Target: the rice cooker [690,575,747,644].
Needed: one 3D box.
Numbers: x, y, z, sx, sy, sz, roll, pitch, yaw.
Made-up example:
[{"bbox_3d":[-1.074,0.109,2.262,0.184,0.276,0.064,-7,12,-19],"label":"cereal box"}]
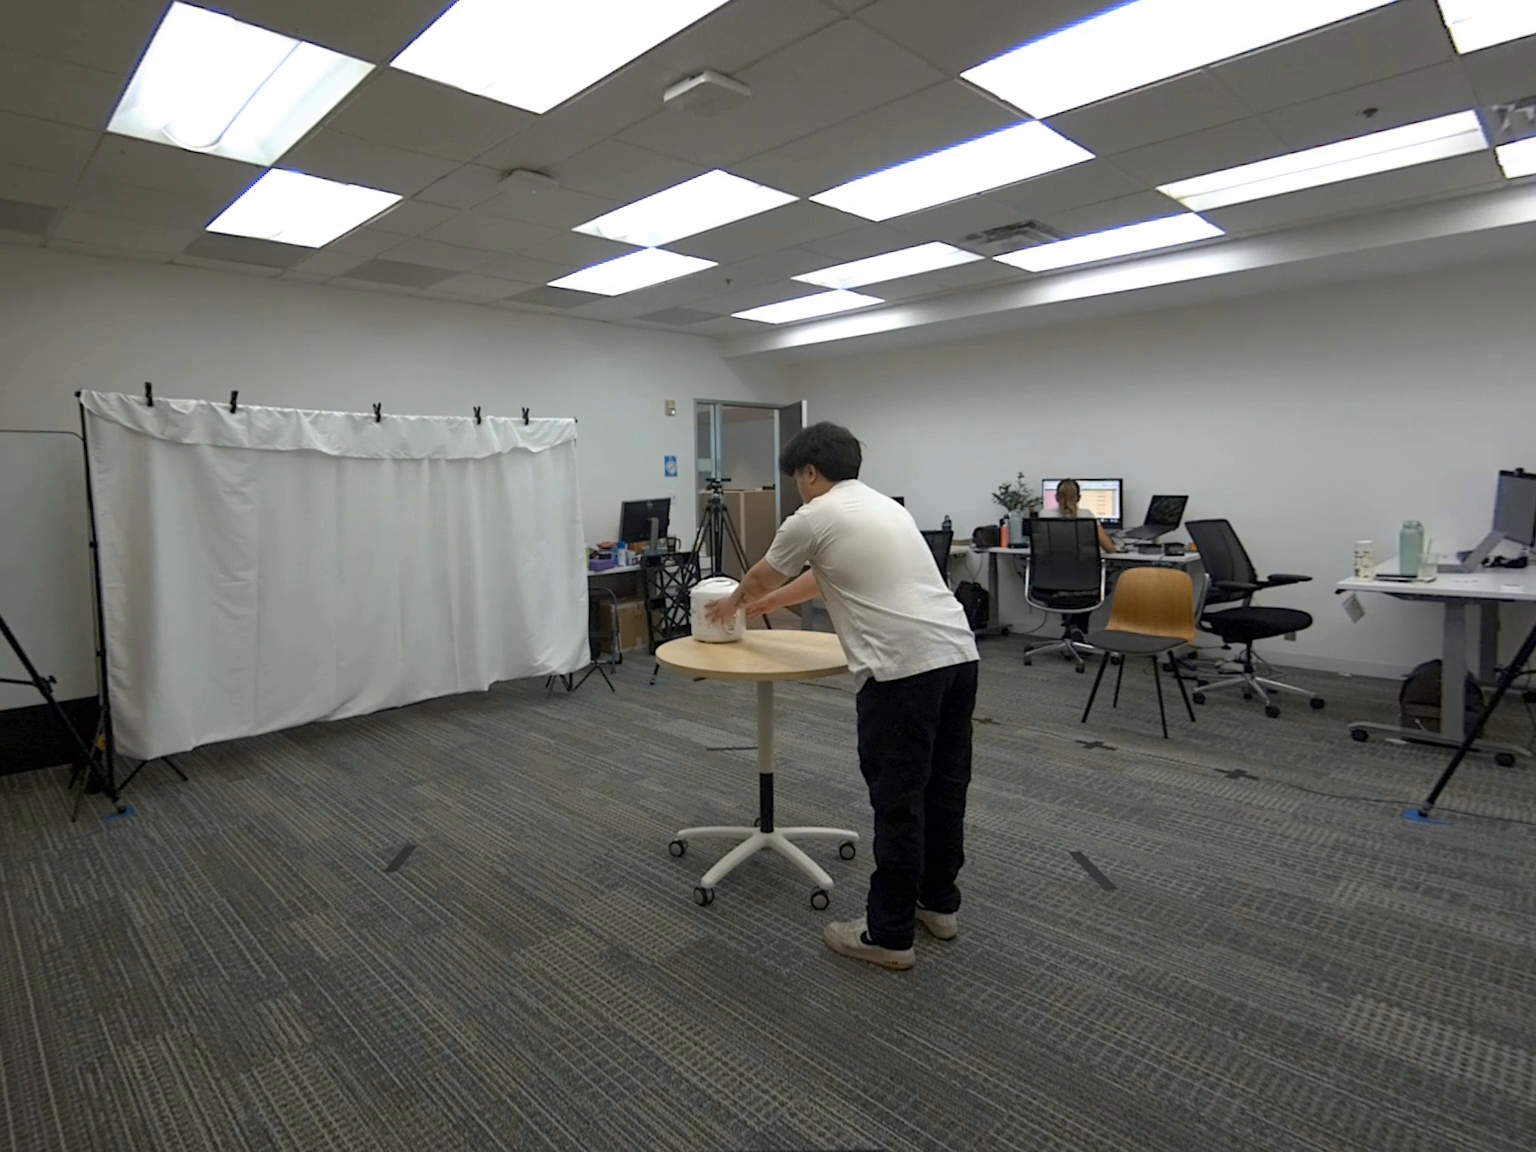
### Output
[{"bbox_3d":[-0.181,0.122,3.197,0.216,0.232,0.223,-5,6,-25],"label":"rice cooker"}]
